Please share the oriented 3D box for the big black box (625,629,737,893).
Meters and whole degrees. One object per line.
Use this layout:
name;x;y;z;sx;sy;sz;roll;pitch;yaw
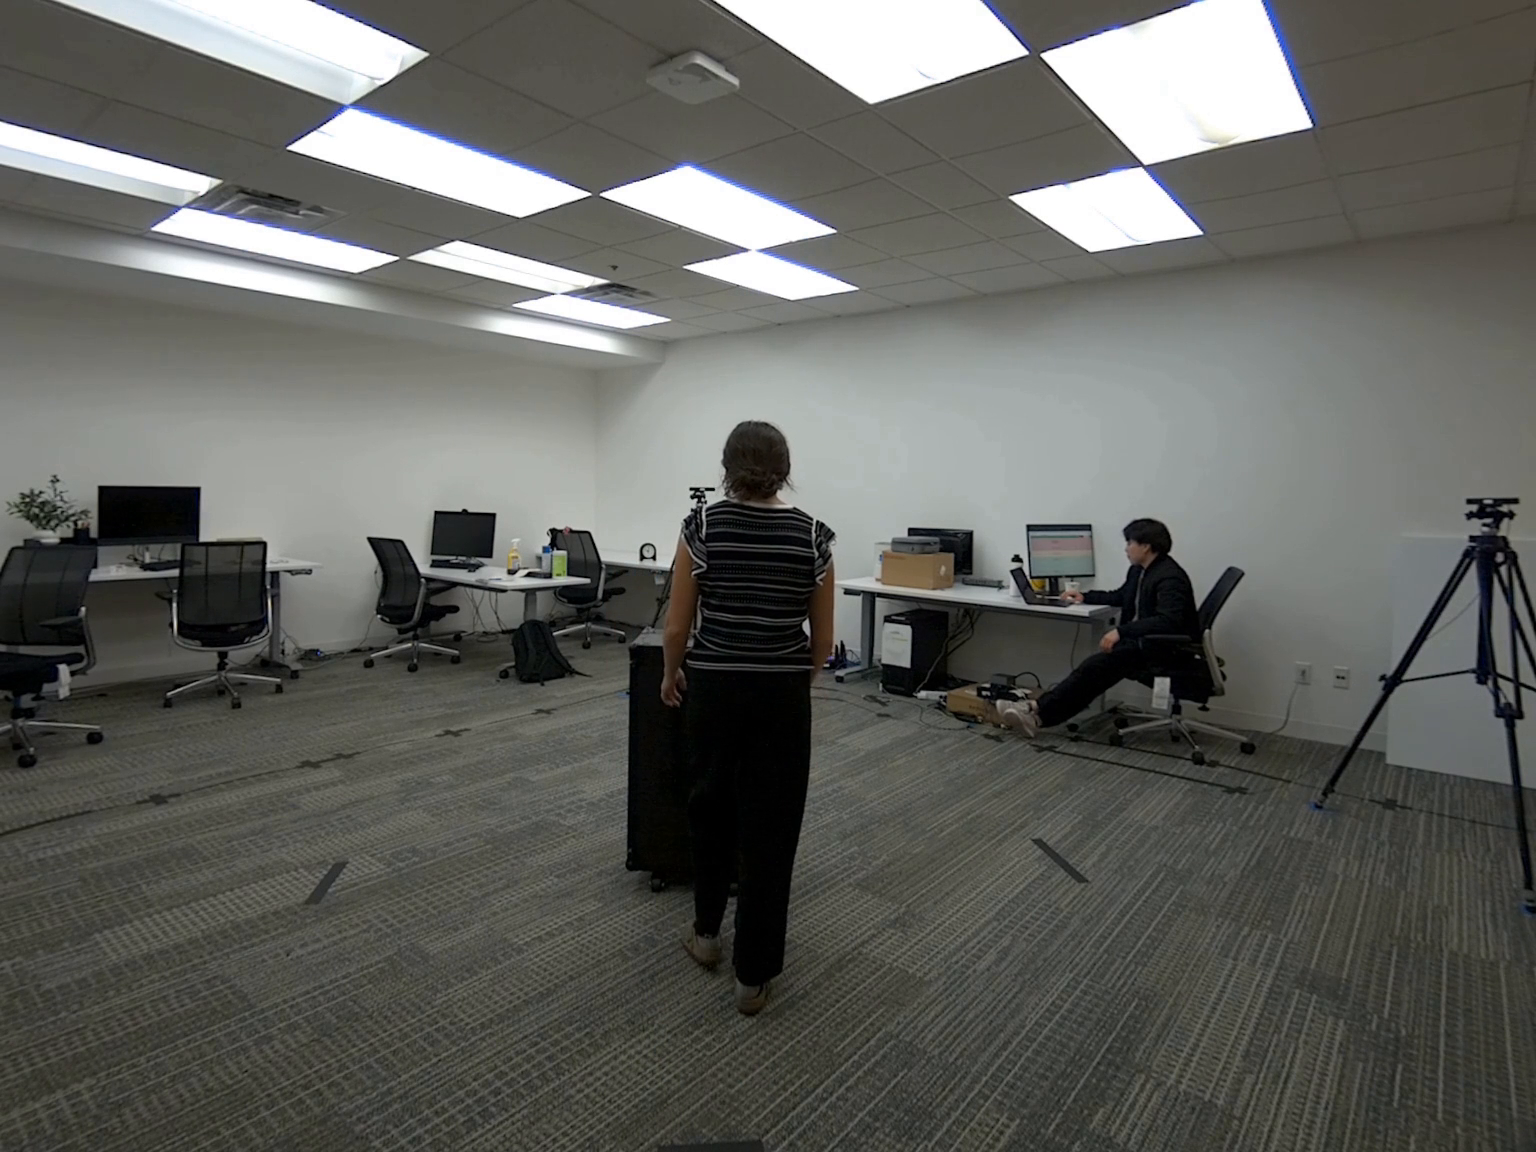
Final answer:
big black box;-0.243;0.645;3.046;0.524;0.859;0.396;2;3;3
